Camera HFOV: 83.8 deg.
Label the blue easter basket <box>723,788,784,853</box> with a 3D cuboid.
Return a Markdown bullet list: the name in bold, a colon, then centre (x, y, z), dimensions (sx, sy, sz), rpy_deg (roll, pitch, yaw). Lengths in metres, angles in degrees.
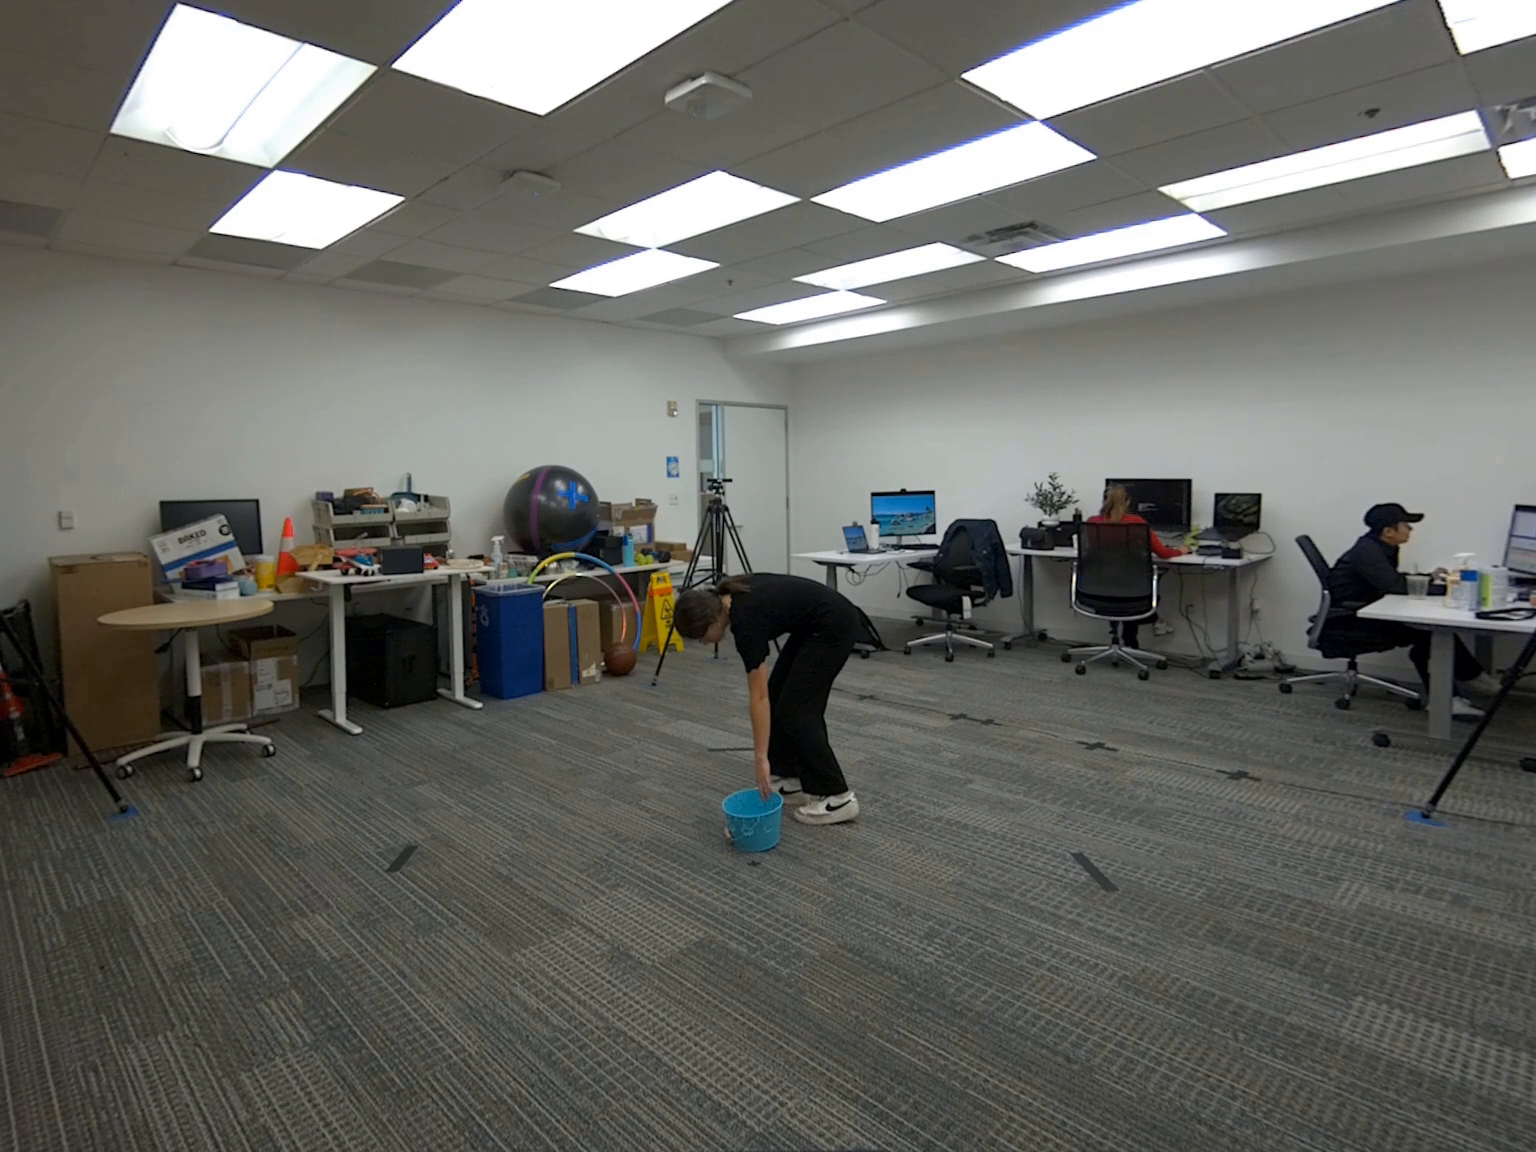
- **blue easter basket**: centre (-0.053, 0.937, 3.279), dimensions (0.243, 0.154, 0.246), rpy_deg (-5, 11, -1)
